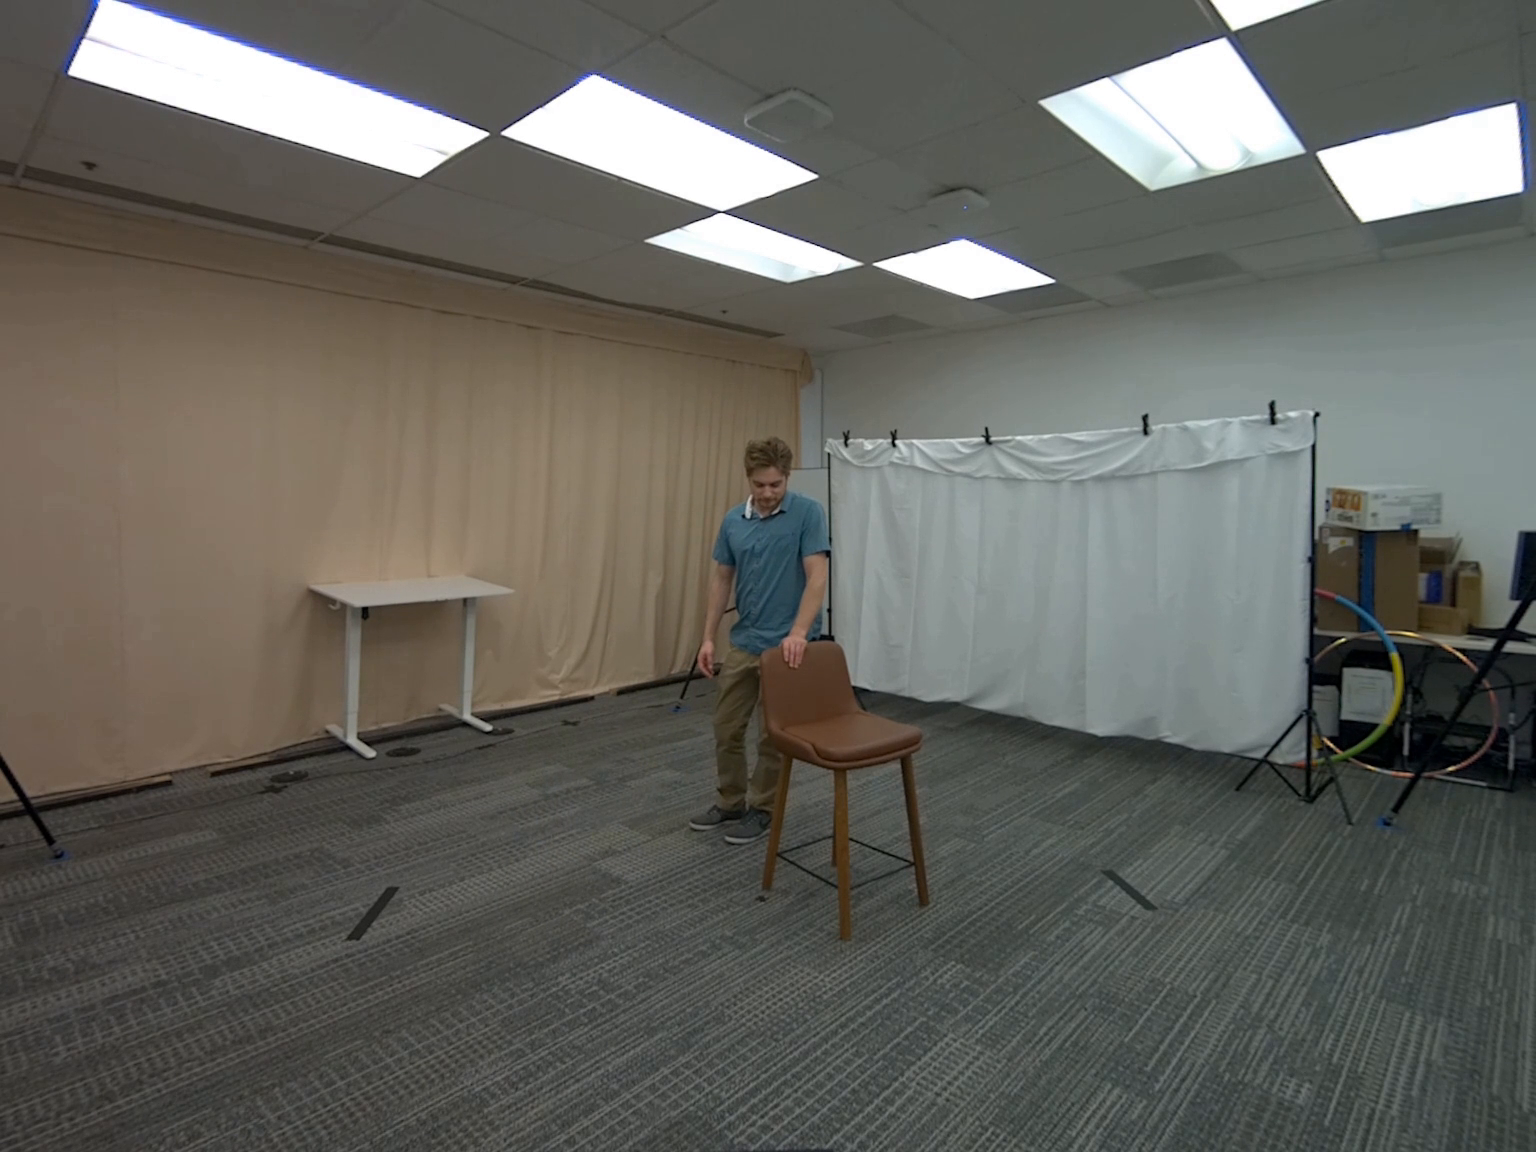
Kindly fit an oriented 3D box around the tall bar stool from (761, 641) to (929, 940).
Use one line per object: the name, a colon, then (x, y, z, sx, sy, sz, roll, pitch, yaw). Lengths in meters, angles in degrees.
tall bar stool: (0.260, 0.706, 2.975, 0.443, 0.889, 0.482, -3, 2, -38)
